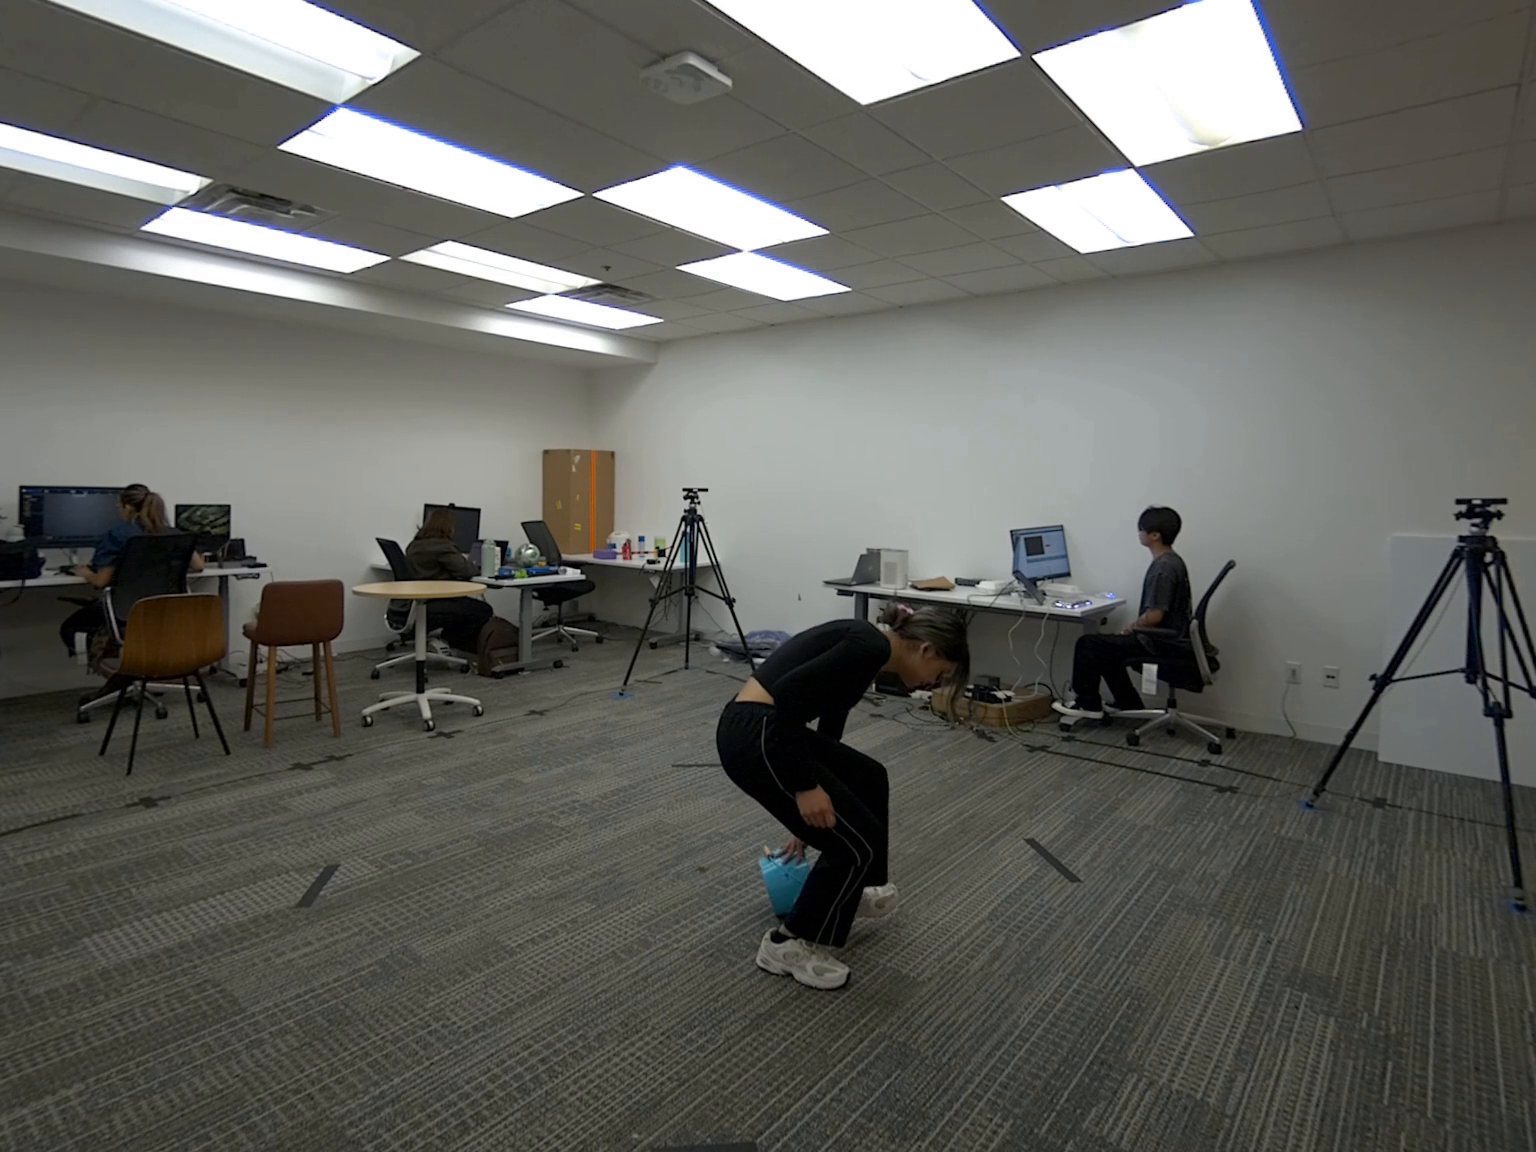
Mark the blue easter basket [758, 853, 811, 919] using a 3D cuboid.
[{"bbox_3d":[0.061,0.993,2.799,0.156,0.243,0.244,-14,4,-1],"label":"blue easter basket"}]
